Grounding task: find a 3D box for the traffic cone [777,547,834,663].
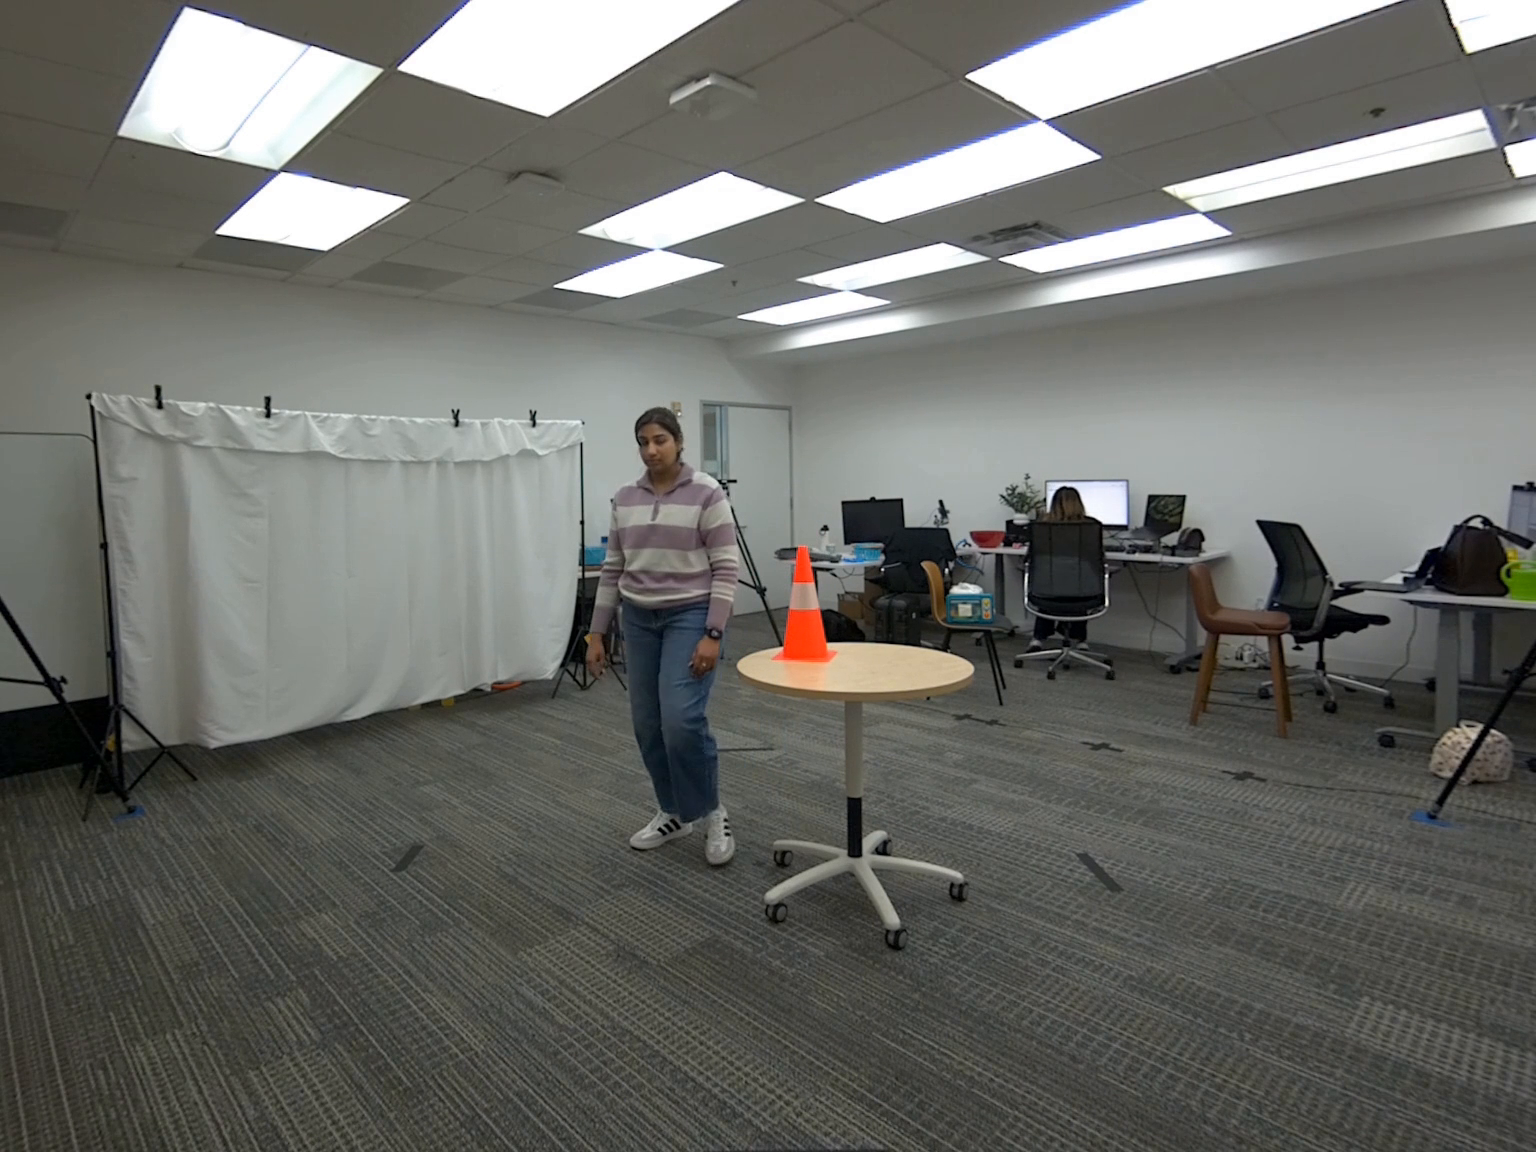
[{"bbox_3d":[0.126,0.089,2.957,0.207,0.382,0.202,0,4,18],"label":"traffic cone"}]
